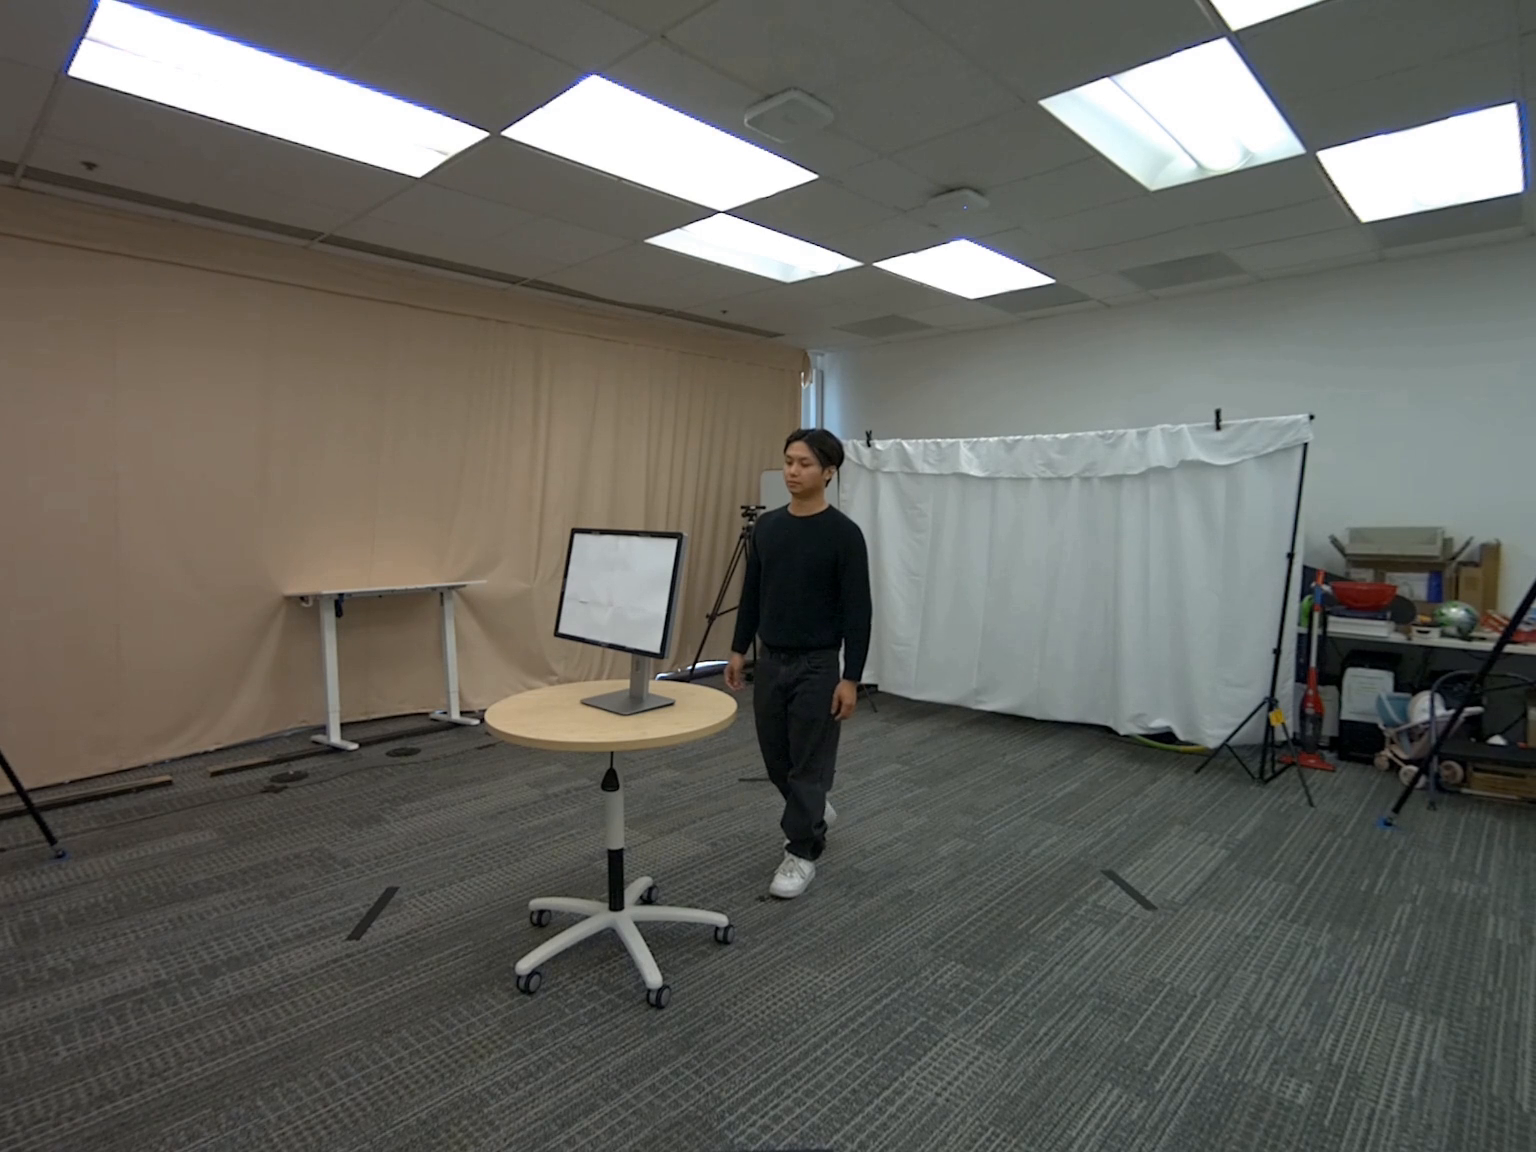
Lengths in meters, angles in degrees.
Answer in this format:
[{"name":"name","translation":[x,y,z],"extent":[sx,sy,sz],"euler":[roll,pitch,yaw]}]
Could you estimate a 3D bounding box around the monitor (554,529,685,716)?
[{"name":"monitor","translation":[-0.443,0.132,2.599],"extent":[0.548,0.513,0.169],"euler":[6,10,43]}]
